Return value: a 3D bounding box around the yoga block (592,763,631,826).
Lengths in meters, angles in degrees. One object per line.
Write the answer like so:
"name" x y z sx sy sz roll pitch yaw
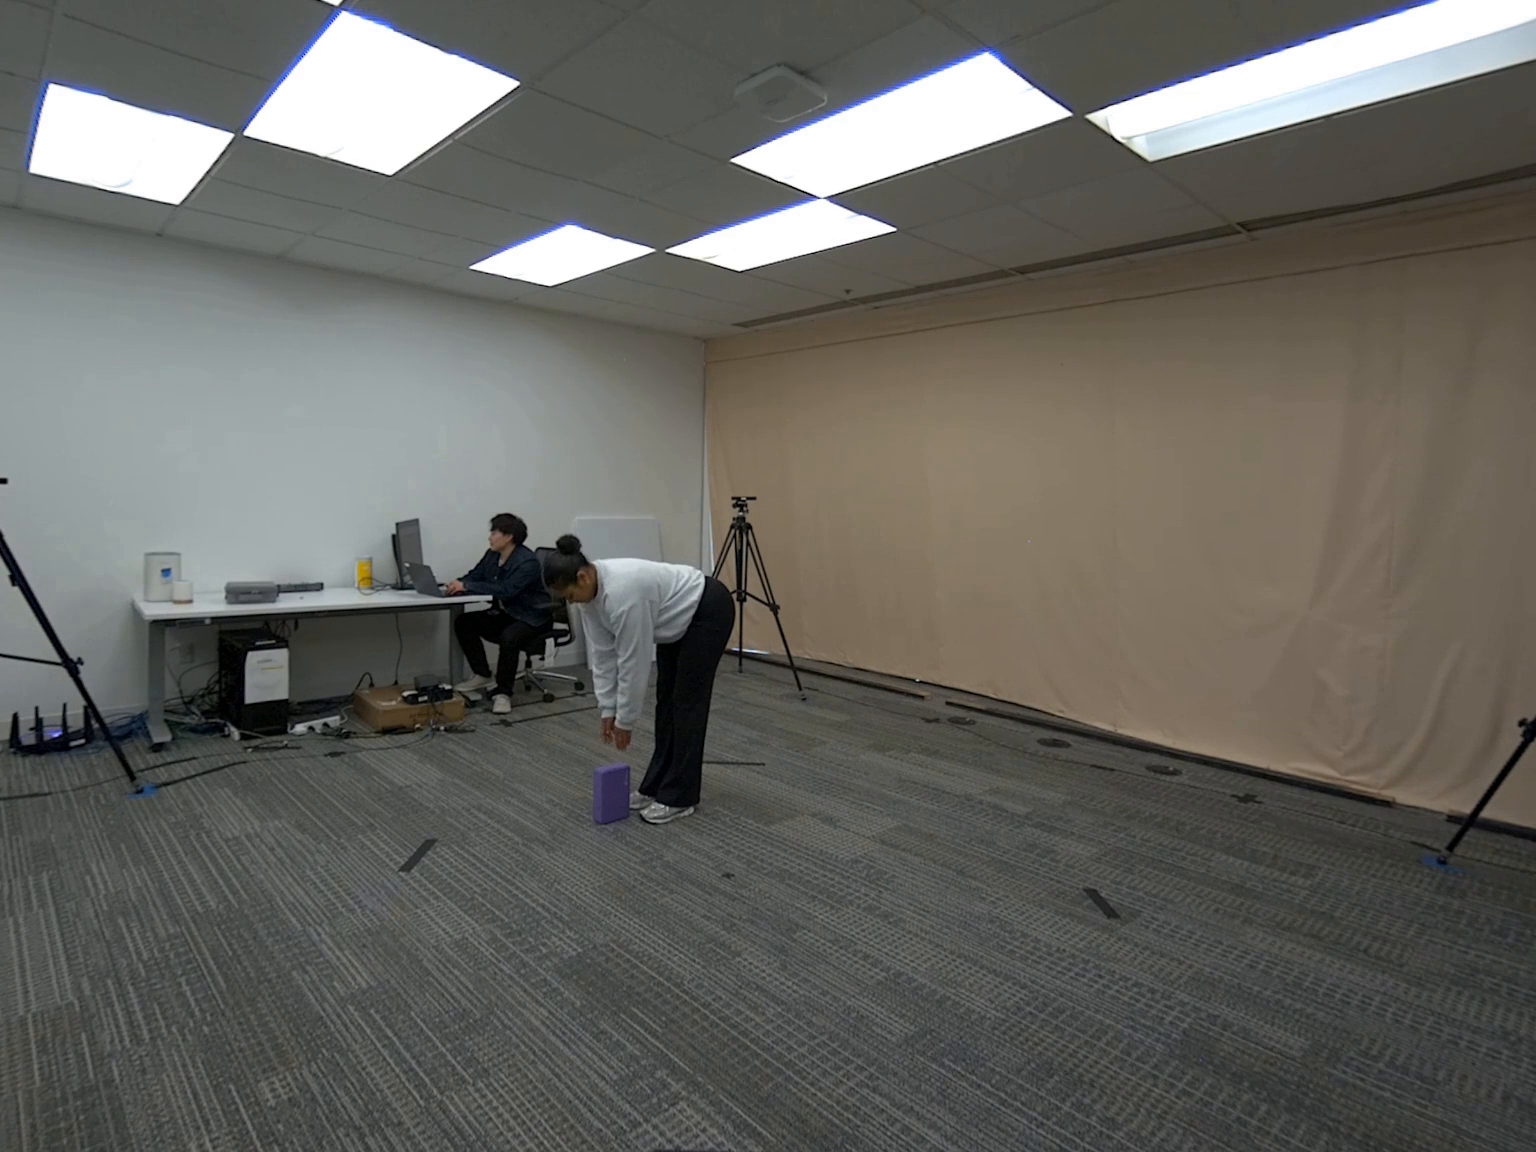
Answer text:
"yoga block" -0.677 0.928 3.616 0.145 0.229 0.078 -3 6 -45
